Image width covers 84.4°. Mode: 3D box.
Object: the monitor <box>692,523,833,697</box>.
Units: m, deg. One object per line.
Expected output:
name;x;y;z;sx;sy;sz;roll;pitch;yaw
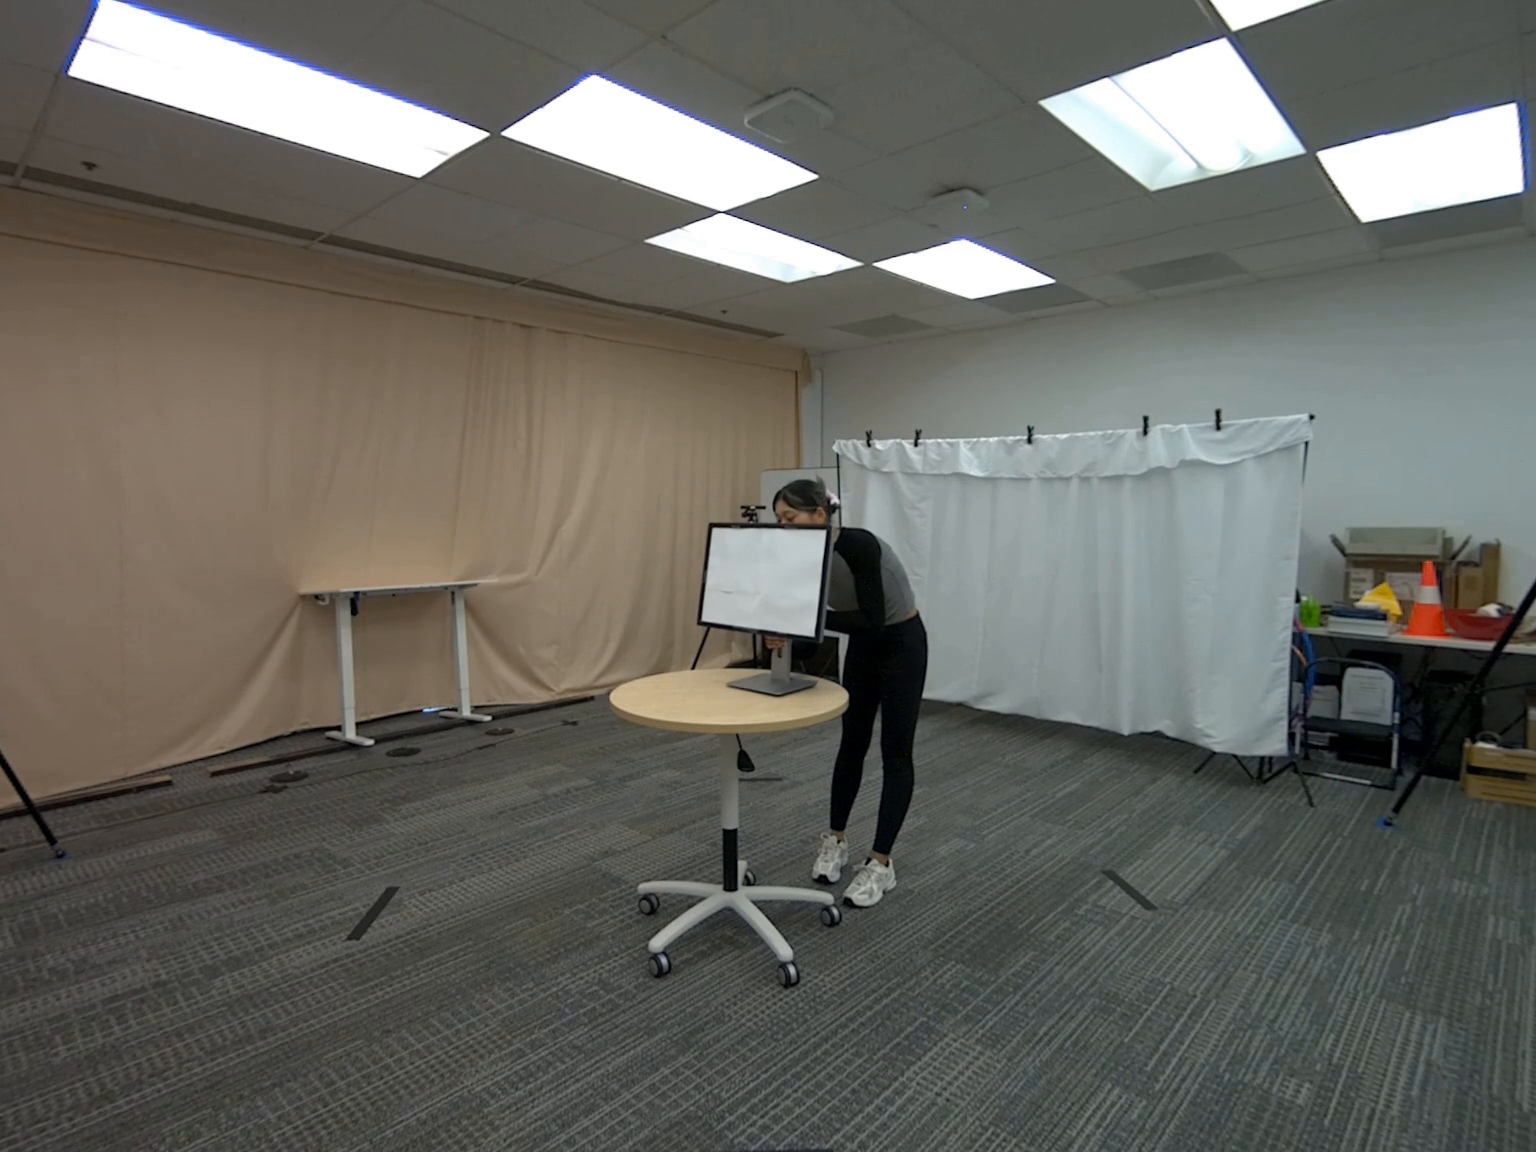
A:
monitor;0.009;0.101;2.783;0.557;0.521;0.181;2;6;44
